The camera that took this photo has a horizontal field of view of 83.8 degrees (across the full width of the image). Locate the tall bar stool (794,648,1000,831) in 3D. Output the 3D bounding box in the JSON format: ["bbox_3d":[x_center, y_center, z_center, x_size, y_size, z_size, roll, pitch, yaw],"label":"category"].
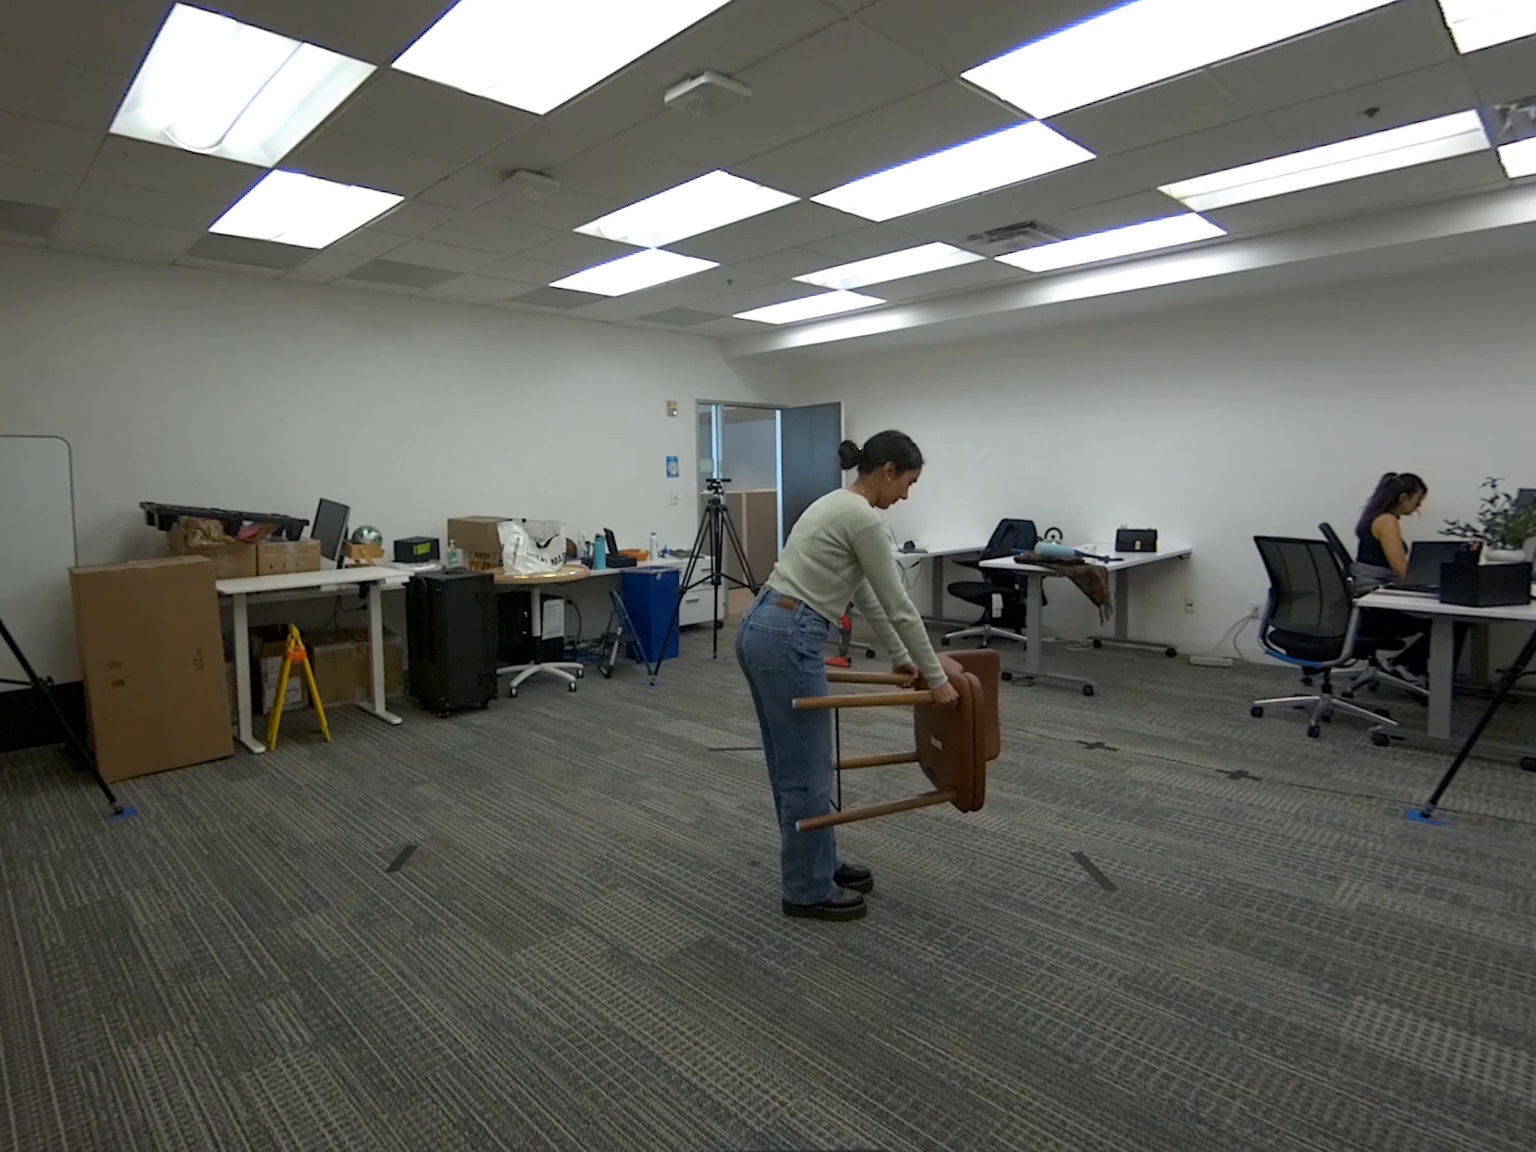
[{"bbox_3d":[0.461,0.523,2.838,0.882,0.454,0.475,-3,7,-10],"label":"tall bar stool"}]
